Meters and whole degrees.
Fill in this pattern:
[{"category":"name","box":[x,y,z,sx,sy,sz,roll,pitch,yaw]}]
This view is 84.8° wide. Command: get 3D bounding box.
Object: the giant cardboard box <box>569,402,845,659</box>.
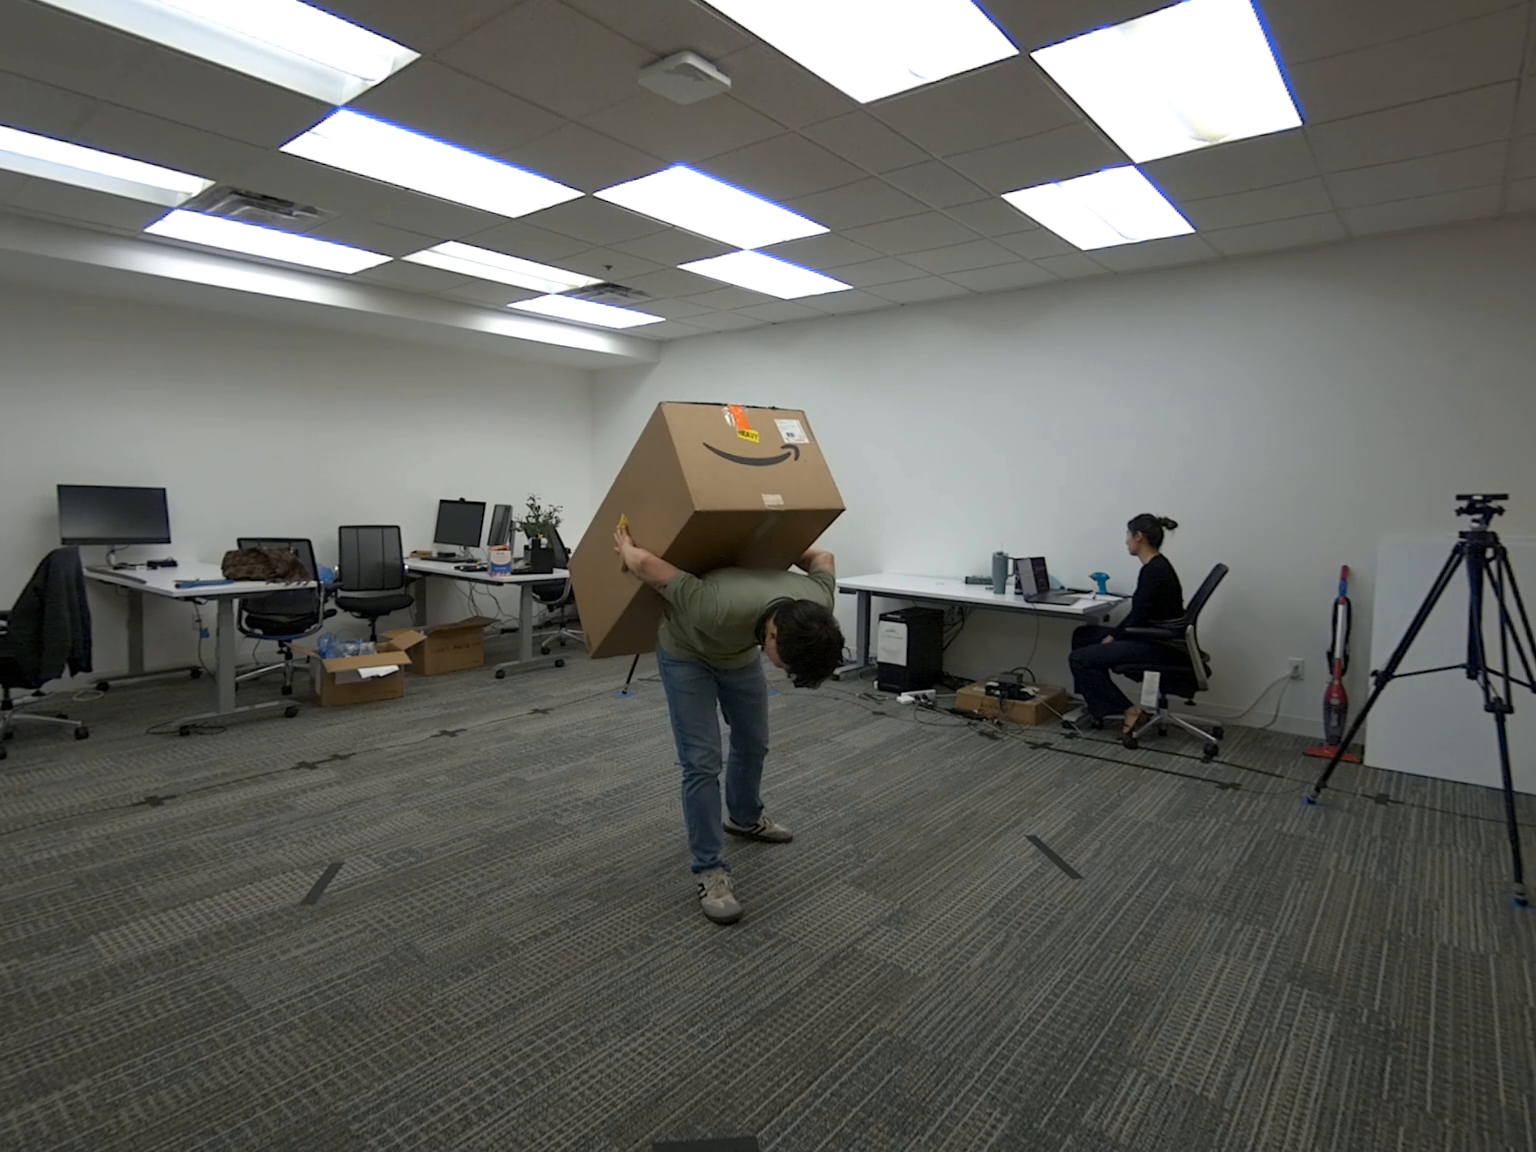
[{"category":"giant cardboard box","box":[-0.292,-0.134,3.111,0.561,0.439,1.024,-1,-30,-33]}]
